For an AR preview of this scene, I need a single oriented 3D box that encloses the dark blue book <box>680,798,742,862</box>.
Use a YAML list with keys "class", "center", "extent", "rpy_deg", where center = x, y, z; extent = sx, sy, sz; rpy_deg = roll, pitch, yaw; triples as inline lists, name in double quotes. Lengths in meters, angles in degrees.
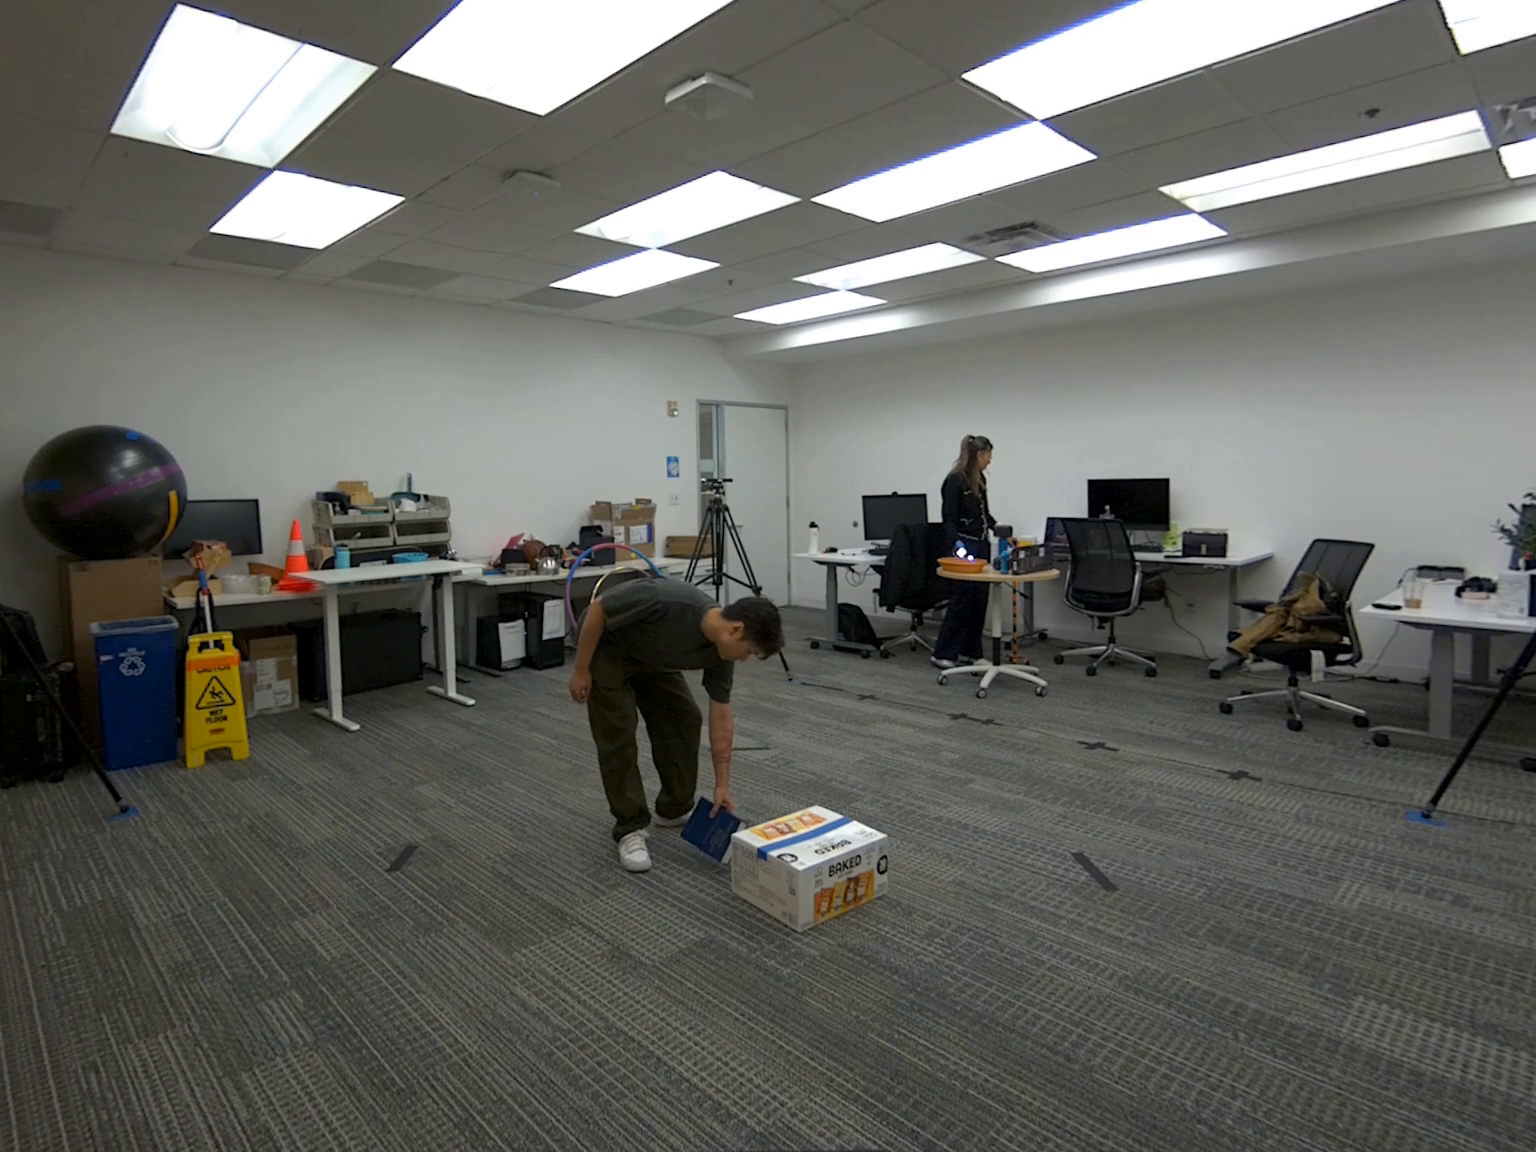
- class: "dark blue book"
  center: [-0.194, 0.926, 3.125]
  extent: [0.253, 0.164, 0.043]
  rpy_deg: [12, -22, 49]
